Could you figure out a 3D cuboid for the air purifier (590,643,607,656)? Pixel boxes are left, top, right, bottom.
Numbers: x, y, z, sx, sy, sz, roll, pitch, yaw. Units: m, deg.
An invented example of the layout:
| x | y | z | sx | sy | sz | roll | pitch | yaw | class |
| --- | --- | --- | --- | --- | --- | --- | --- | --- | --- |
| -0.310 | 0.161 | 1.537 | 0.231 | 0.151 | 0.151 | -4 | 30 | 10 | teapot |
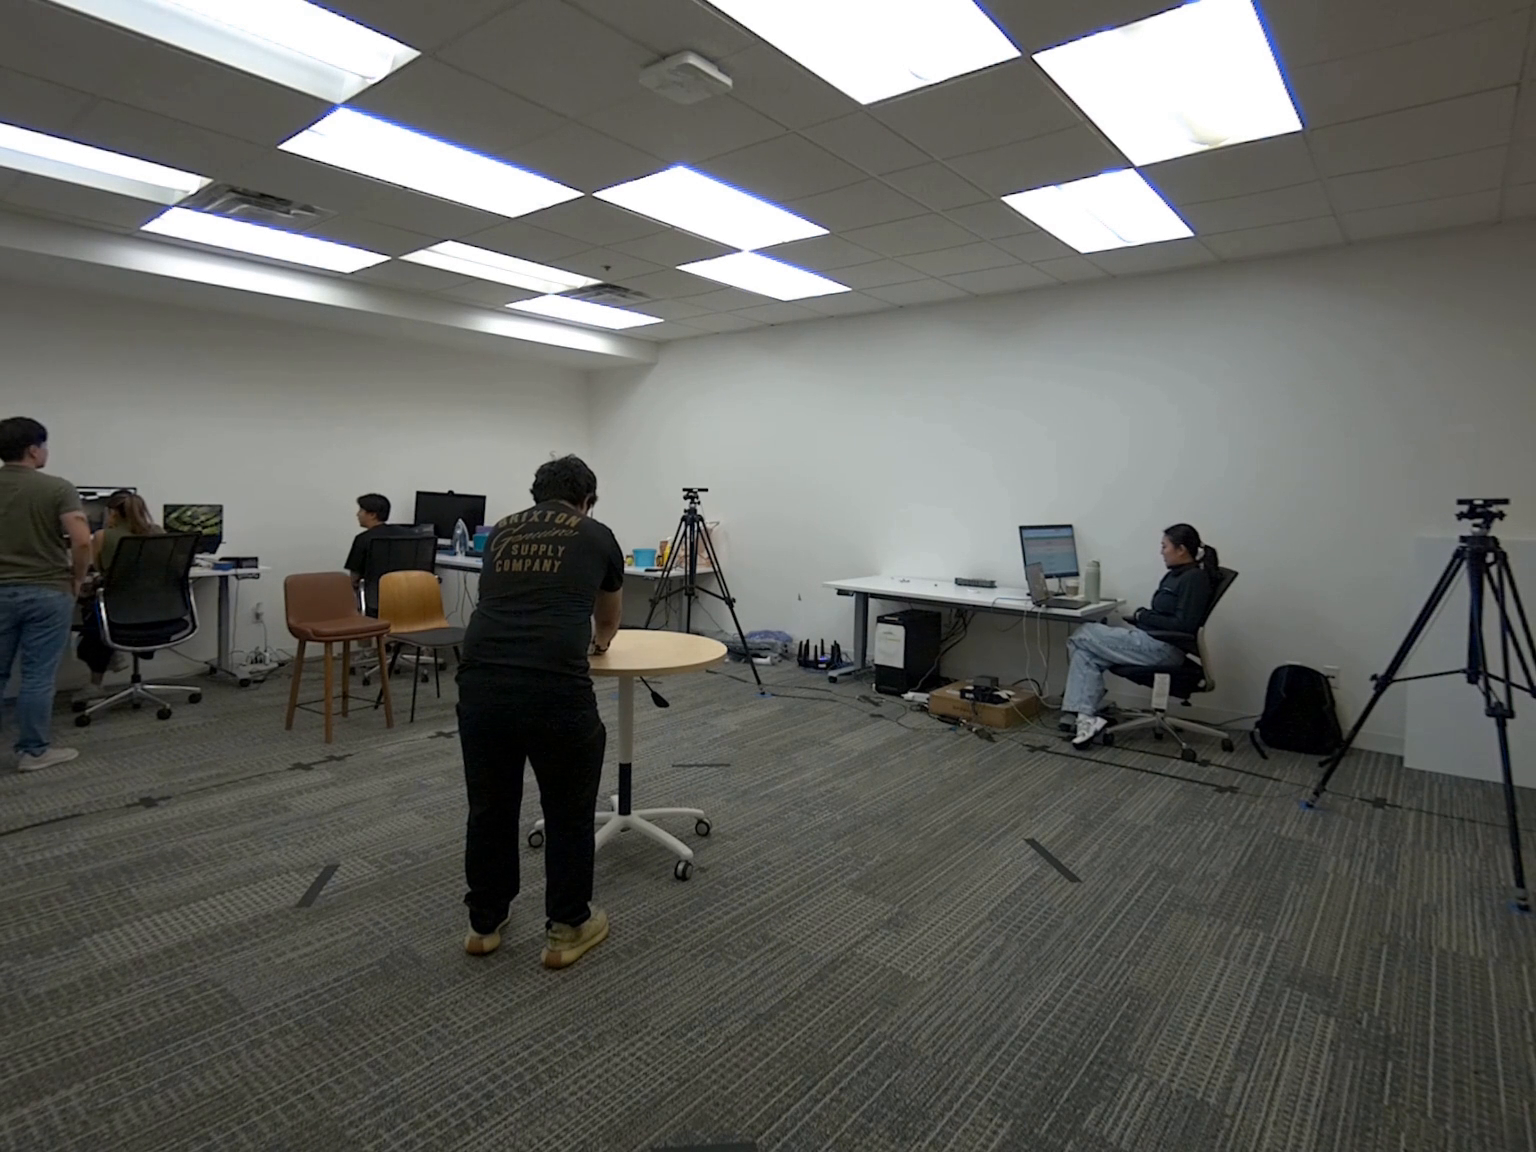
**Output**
| x | y | z | sx | sy | sz | roll | pitch | yaw | class |
| --- | --- | --- | --- | --- | --- | --- | --- | --- | --- |
| -0.697 | 0.141 | 3.122 | 0.171 | 0.265 | 0.172 | 1 | 3 | -1 | air purifier |
